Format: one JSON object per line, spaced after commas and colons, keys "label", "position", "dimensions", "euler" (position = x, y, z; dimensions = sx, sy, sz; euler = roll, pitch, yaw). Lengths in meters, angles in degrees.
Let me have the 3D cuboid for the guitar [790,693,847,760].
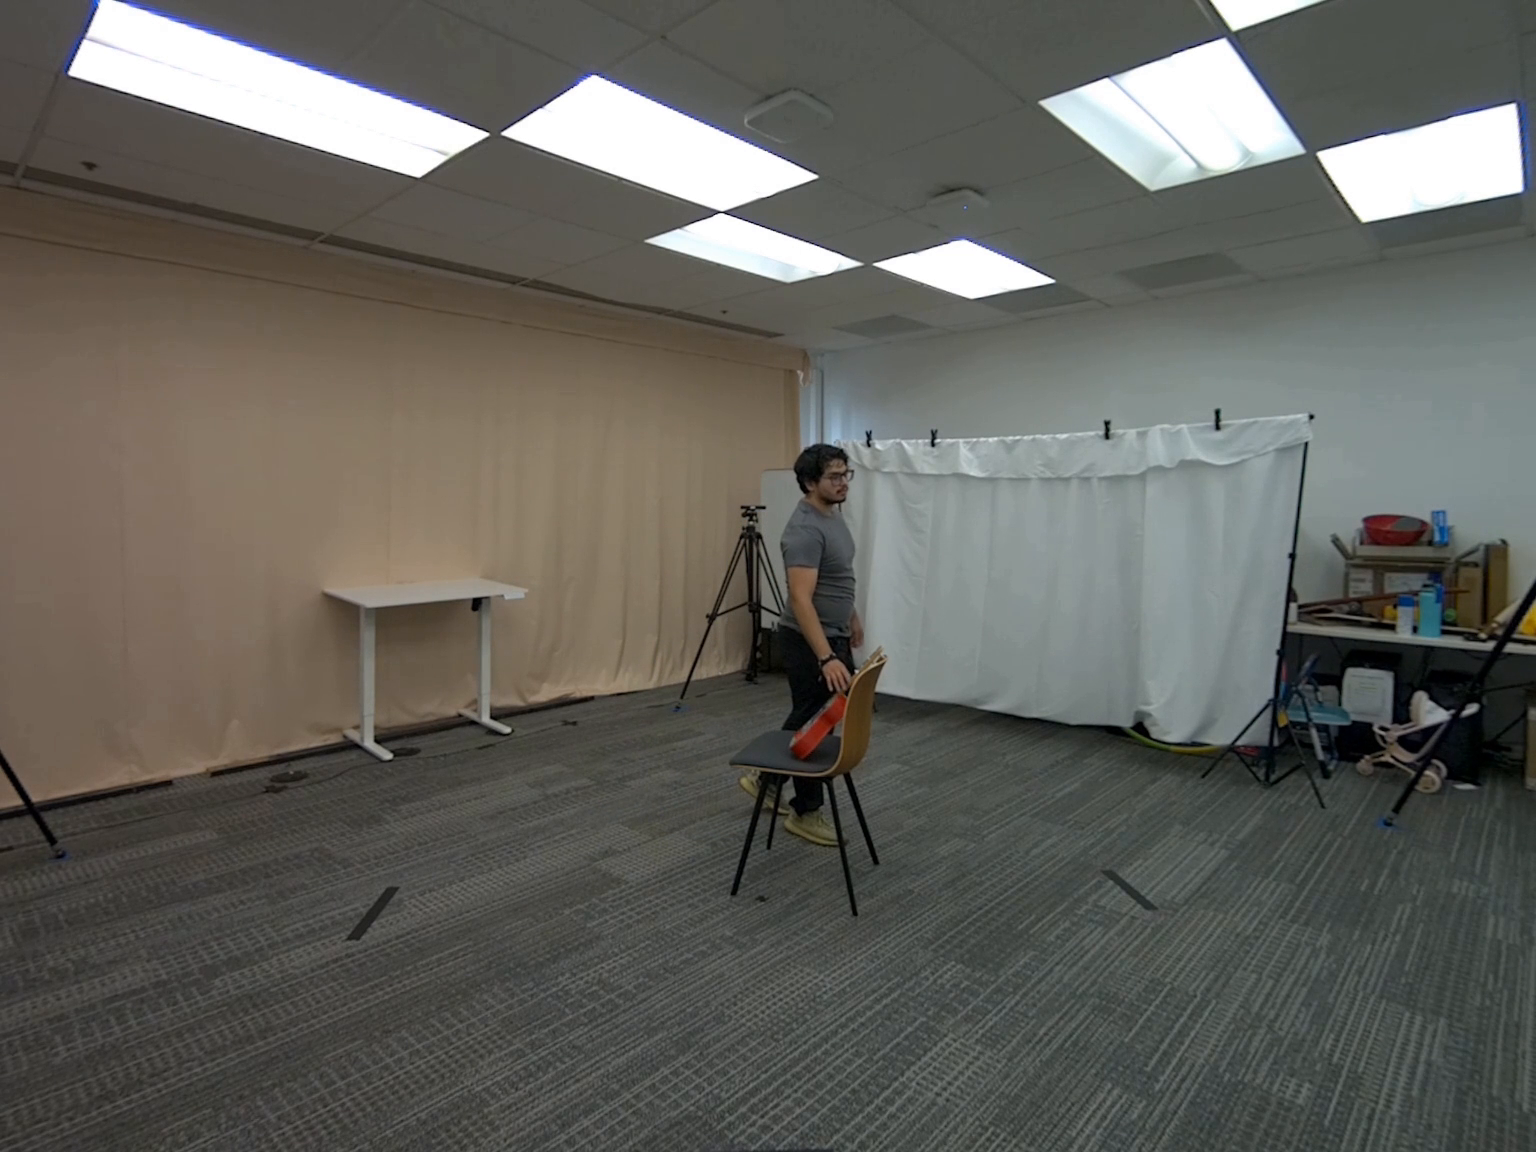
{"label": "guitar", "position": [0.253, 0.459, 3.035], "dimensions": [0.071, 0.499, 0.191], "euler": [44, 11, 3]}
